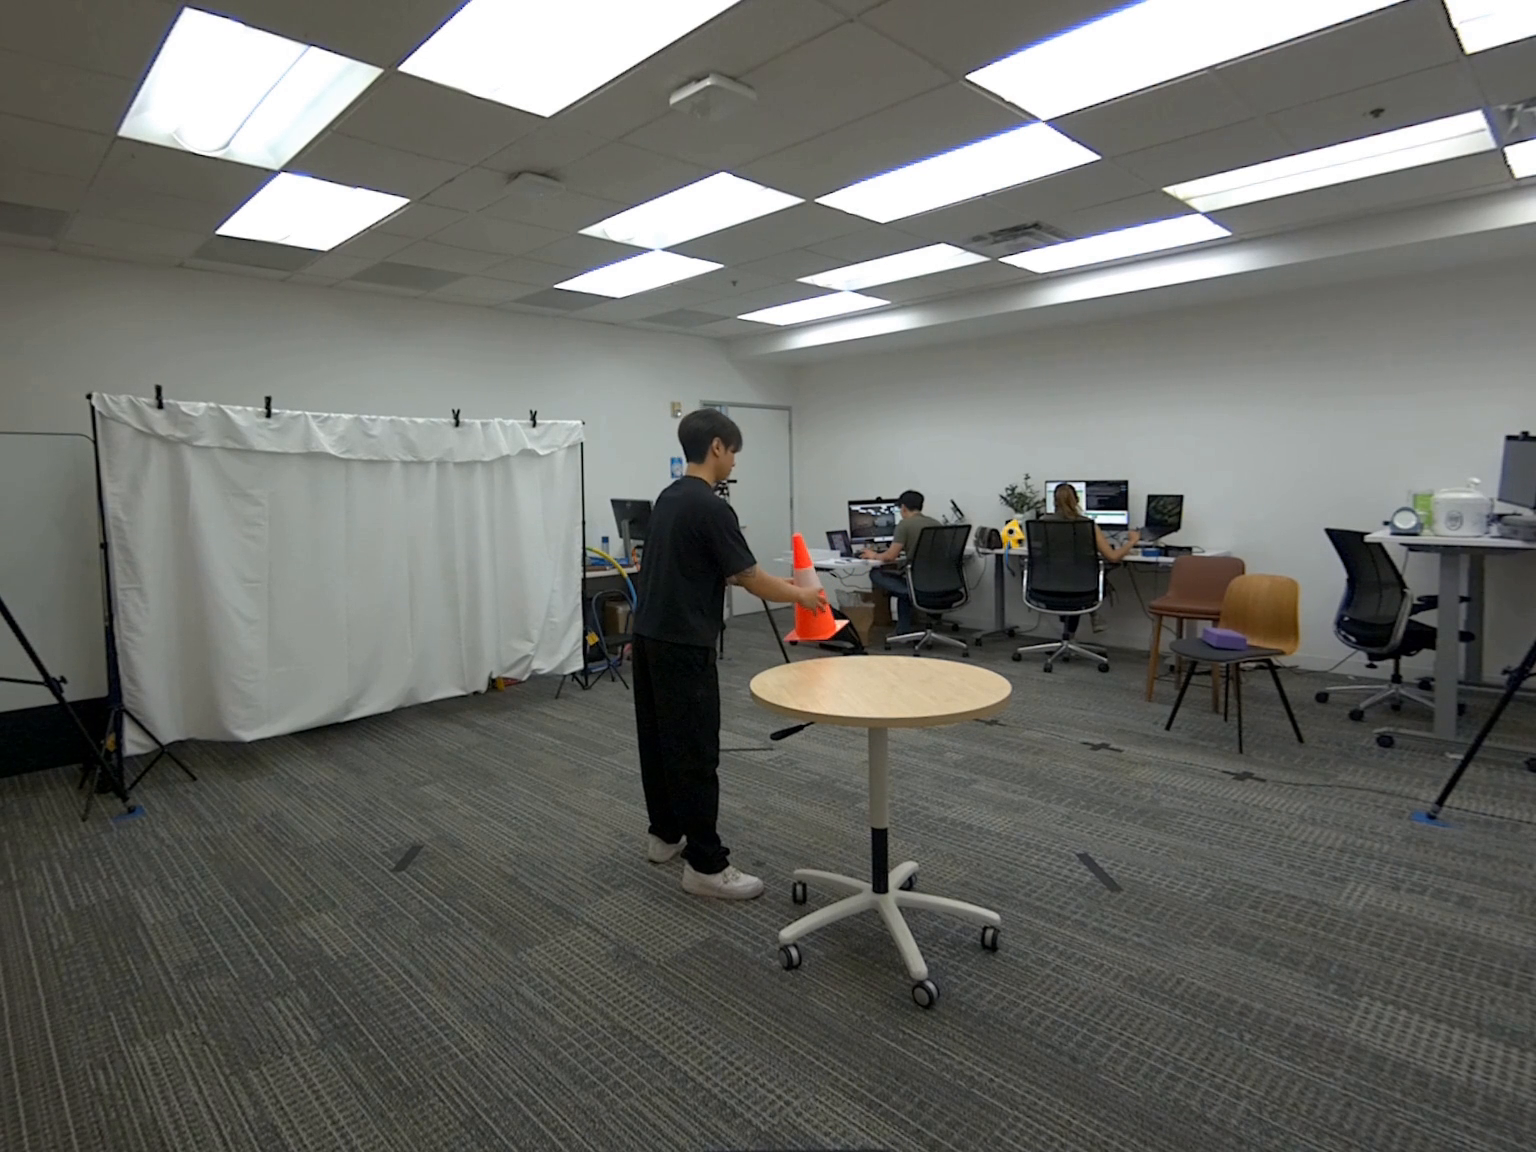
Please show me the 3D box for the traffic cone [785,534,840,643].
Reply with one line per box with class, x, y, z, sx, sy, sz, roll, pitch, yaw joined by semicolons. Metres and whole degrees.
traffic cone;0.147;0.033;3.205;0.208;0.379;0.203;-6;14;27
